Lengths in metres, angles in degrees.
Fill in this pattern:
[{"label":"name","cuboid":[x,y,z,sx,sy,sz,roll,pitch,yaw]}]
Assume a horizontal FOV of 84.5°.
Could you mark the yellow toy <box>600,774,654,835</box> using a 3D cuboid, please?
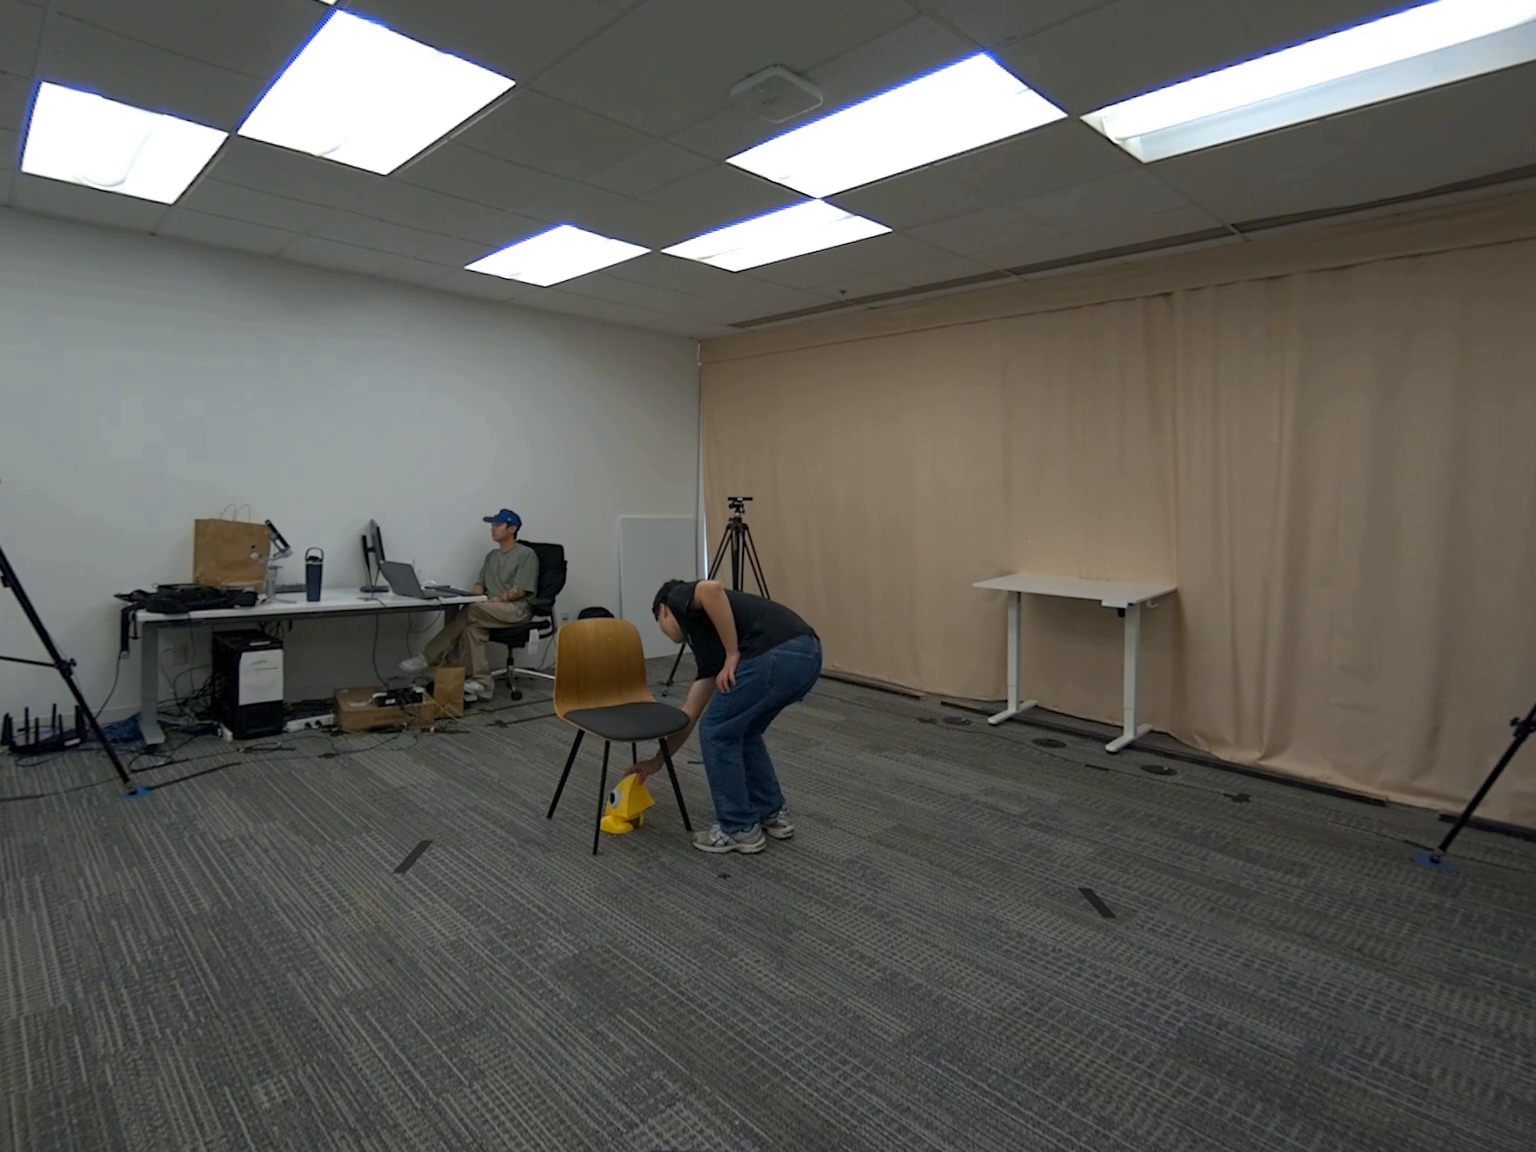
[{"label":"yellow toy","cuboid":[-0.622,0.937,3.566,0.197,0.231,0.200,3,-1,29]}]
